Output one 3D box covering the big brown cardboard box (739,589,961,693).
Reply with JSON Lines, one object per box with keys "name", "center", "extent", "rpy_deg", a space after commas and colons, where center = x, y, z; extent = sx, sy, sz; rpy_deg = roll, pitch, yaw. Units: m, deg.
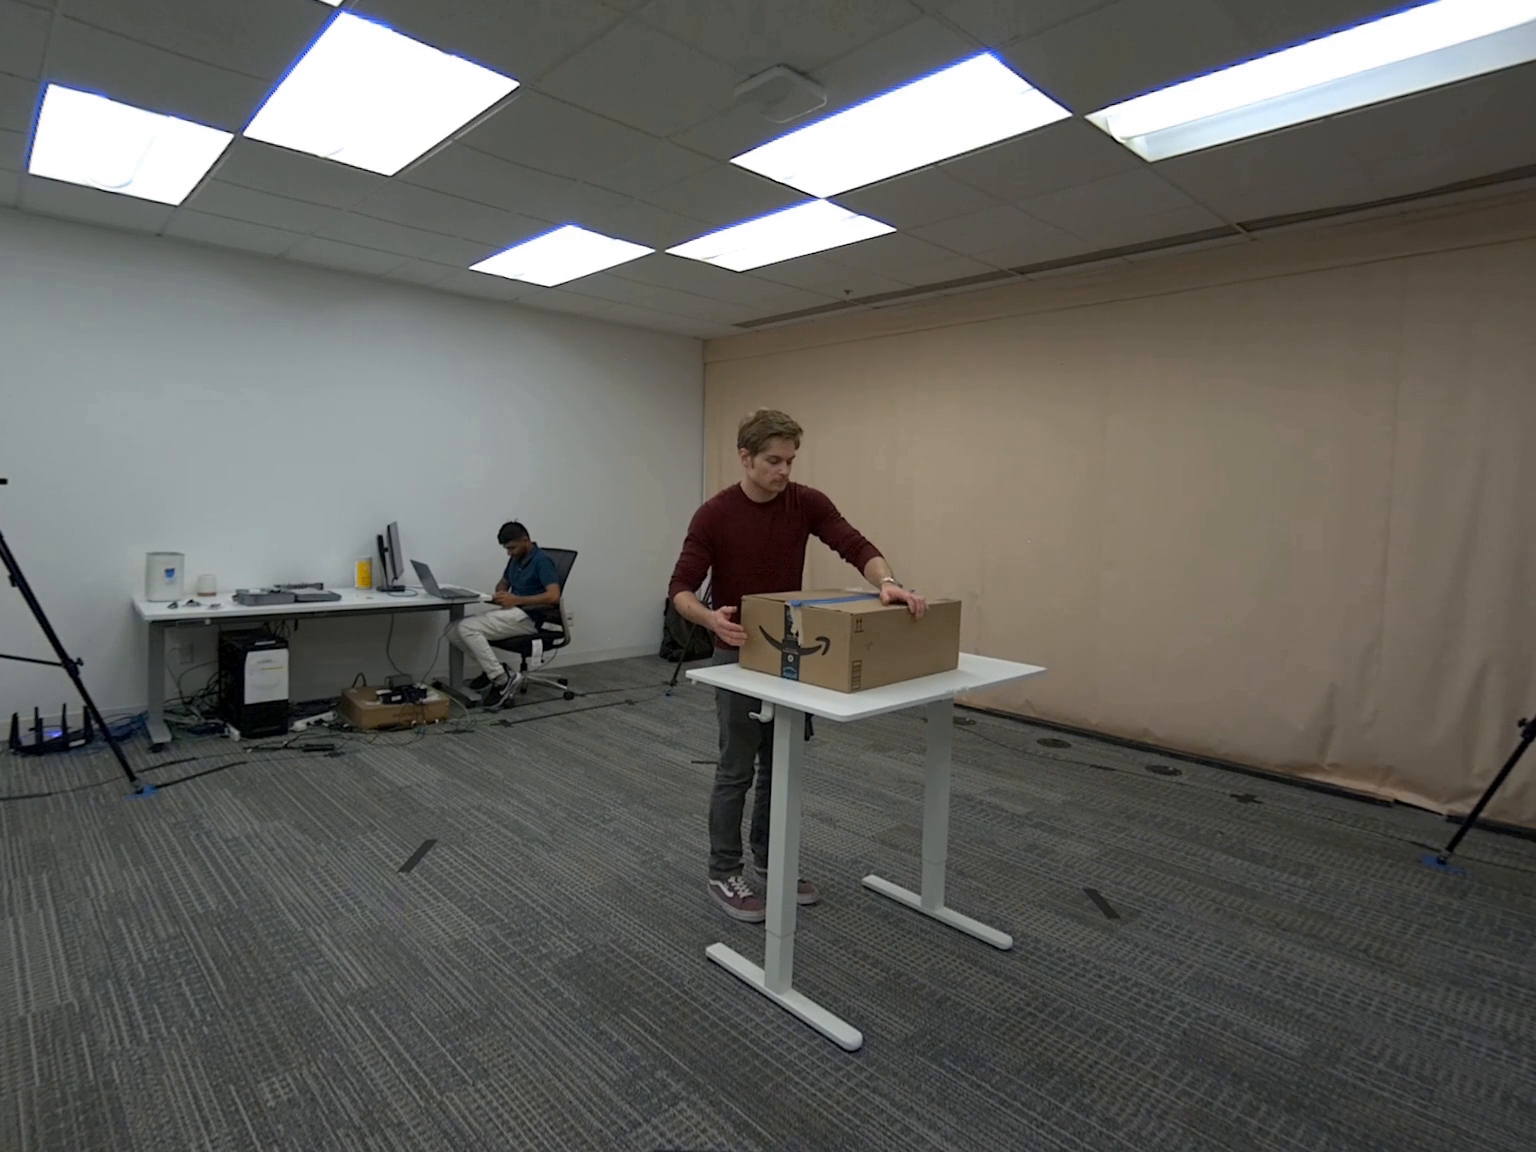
{"name": "big brown cardboard box", "center": [0.255, 0.171, 2.564], "extent": [0.428, 0.232, 0.576], "rpy_deg": [6, 8, 43]}
